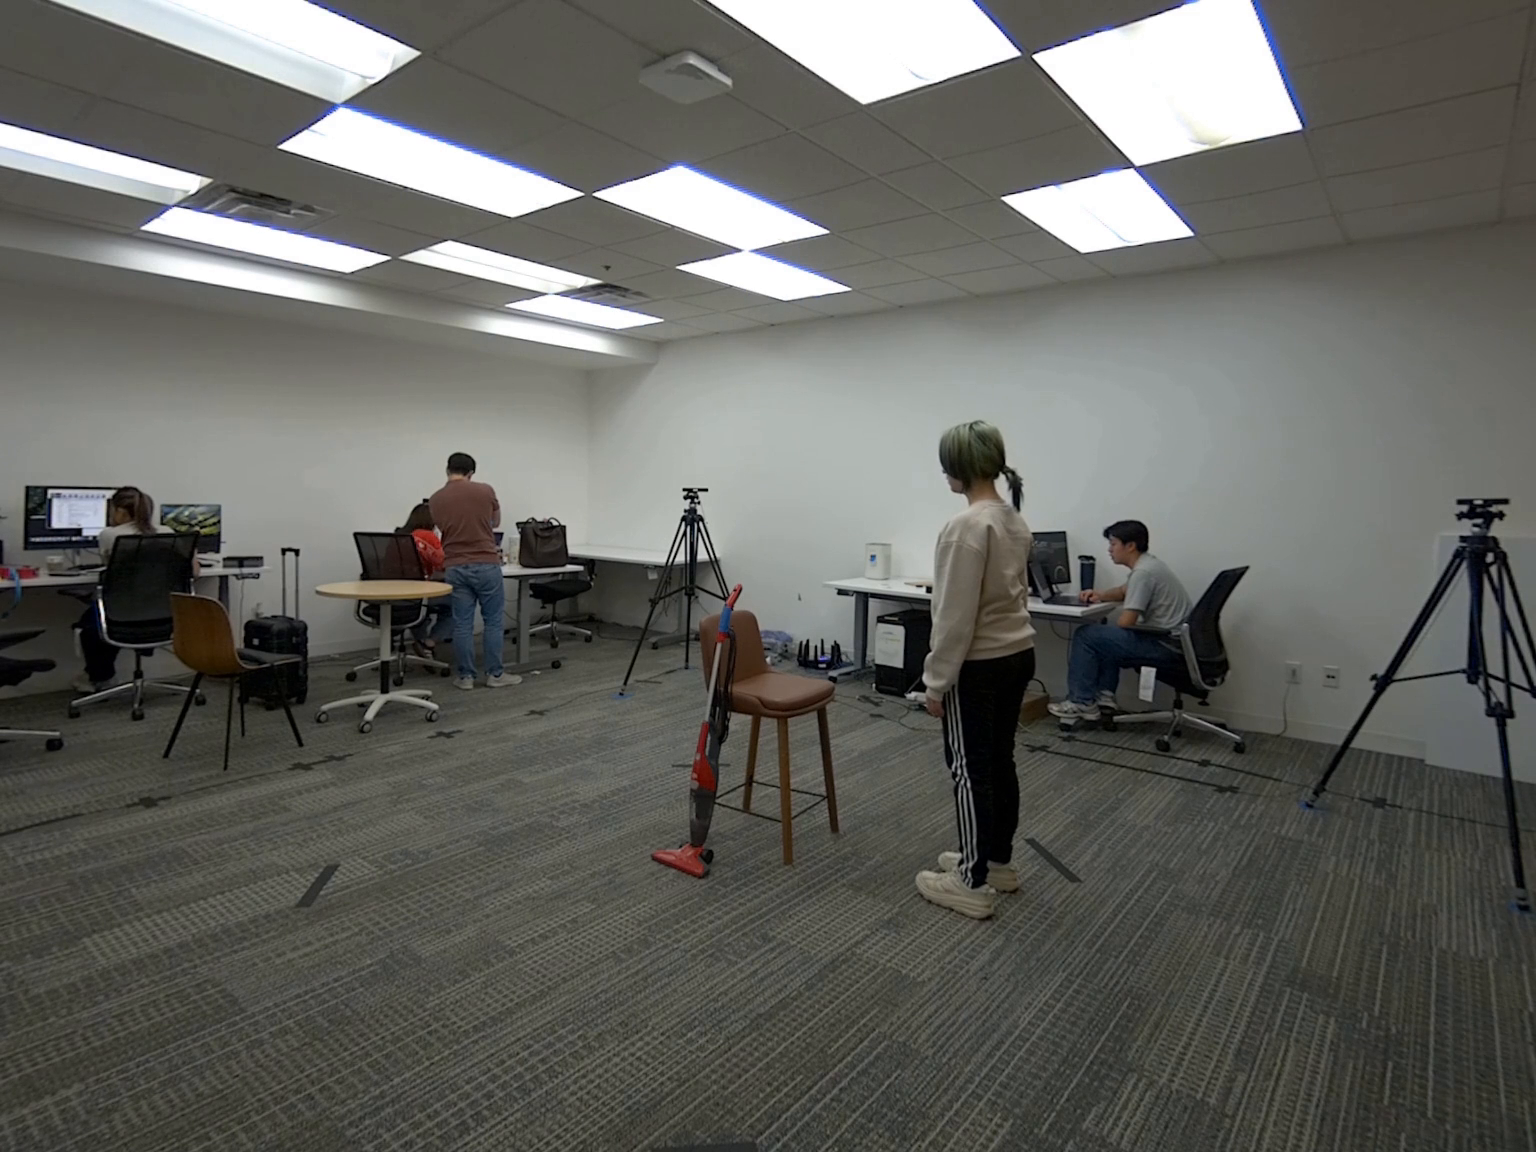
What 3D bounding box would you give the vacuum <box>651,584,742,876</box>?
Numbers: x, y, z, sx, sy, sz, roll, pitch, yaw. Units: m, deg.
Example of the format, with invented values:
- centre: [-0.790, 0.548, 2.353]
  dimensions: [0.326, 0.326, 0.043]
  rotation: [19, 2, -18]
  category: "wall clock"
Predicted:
- centre: [-0.218, 0.546, 3.251]
  dimensions: [0.261, 1.056, 0.138]
  rotation: [2, -12, 44]
  category: "vacuum"
